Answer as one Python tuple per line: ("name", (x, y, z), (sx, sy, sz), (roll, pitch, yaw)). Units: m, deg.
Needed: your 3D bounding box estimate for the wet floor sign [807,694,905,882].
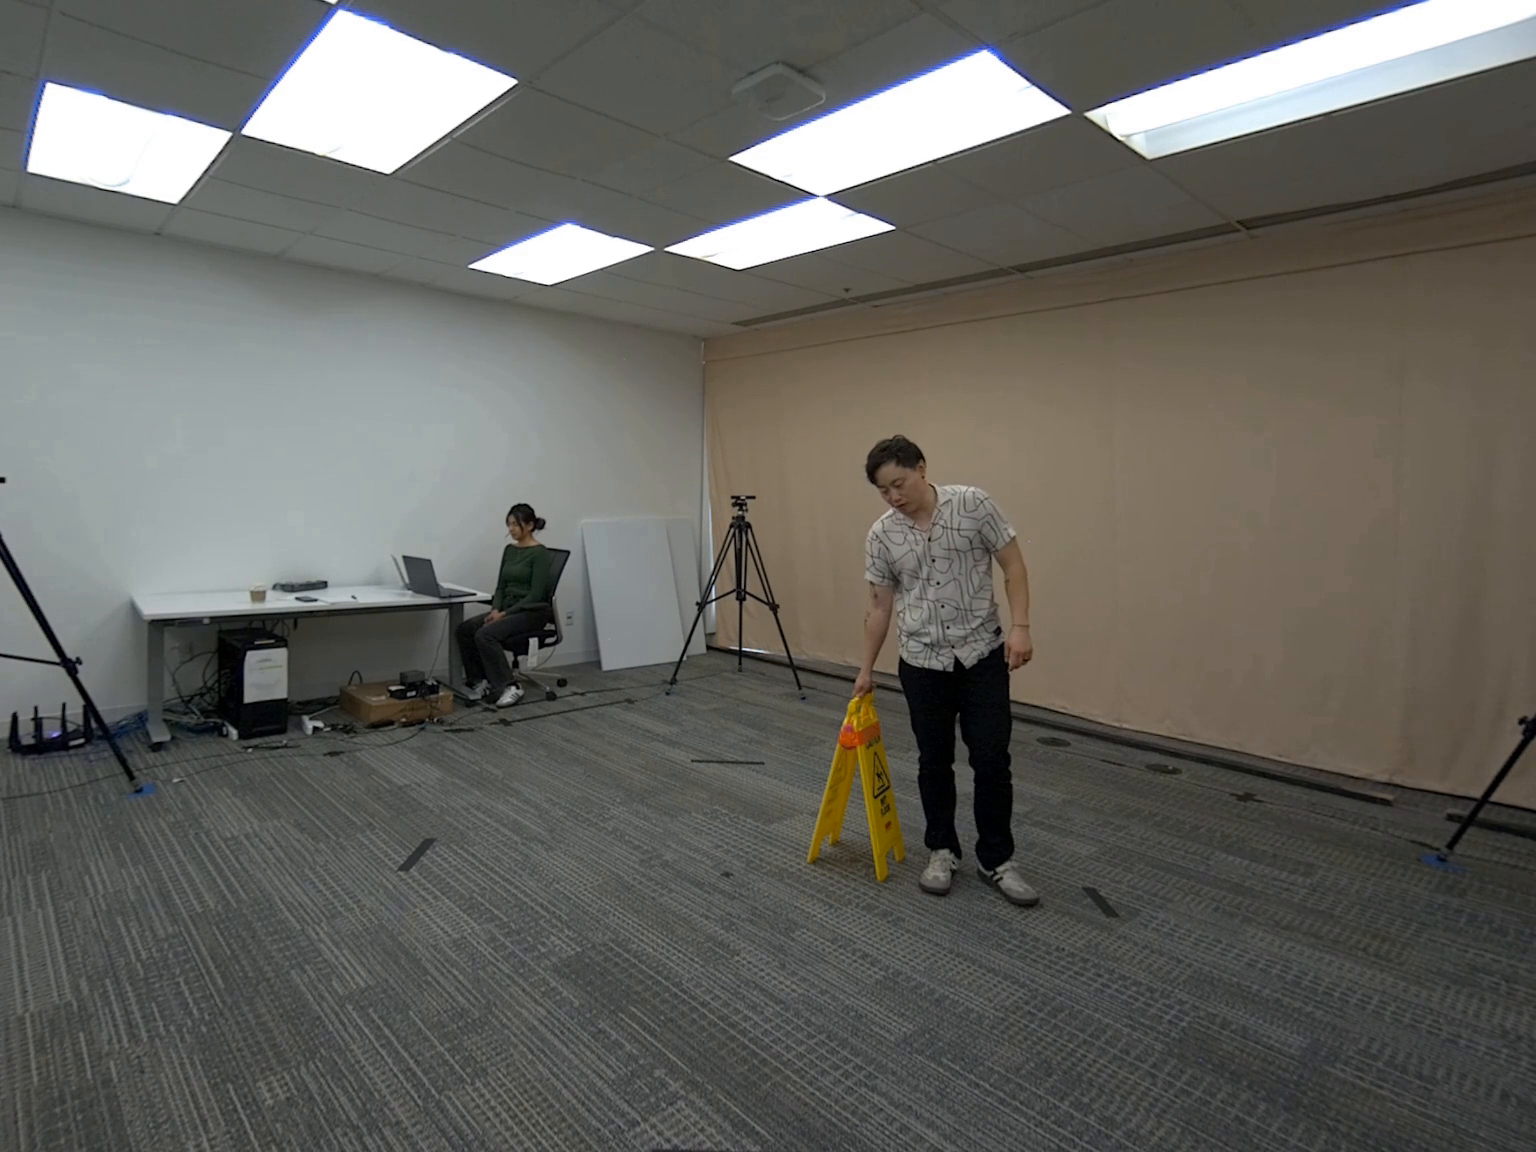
("wet floor sign", (0.340, 0.776, 3.244), (0.296, 0.645, 0.276), (2, 2, 29))
